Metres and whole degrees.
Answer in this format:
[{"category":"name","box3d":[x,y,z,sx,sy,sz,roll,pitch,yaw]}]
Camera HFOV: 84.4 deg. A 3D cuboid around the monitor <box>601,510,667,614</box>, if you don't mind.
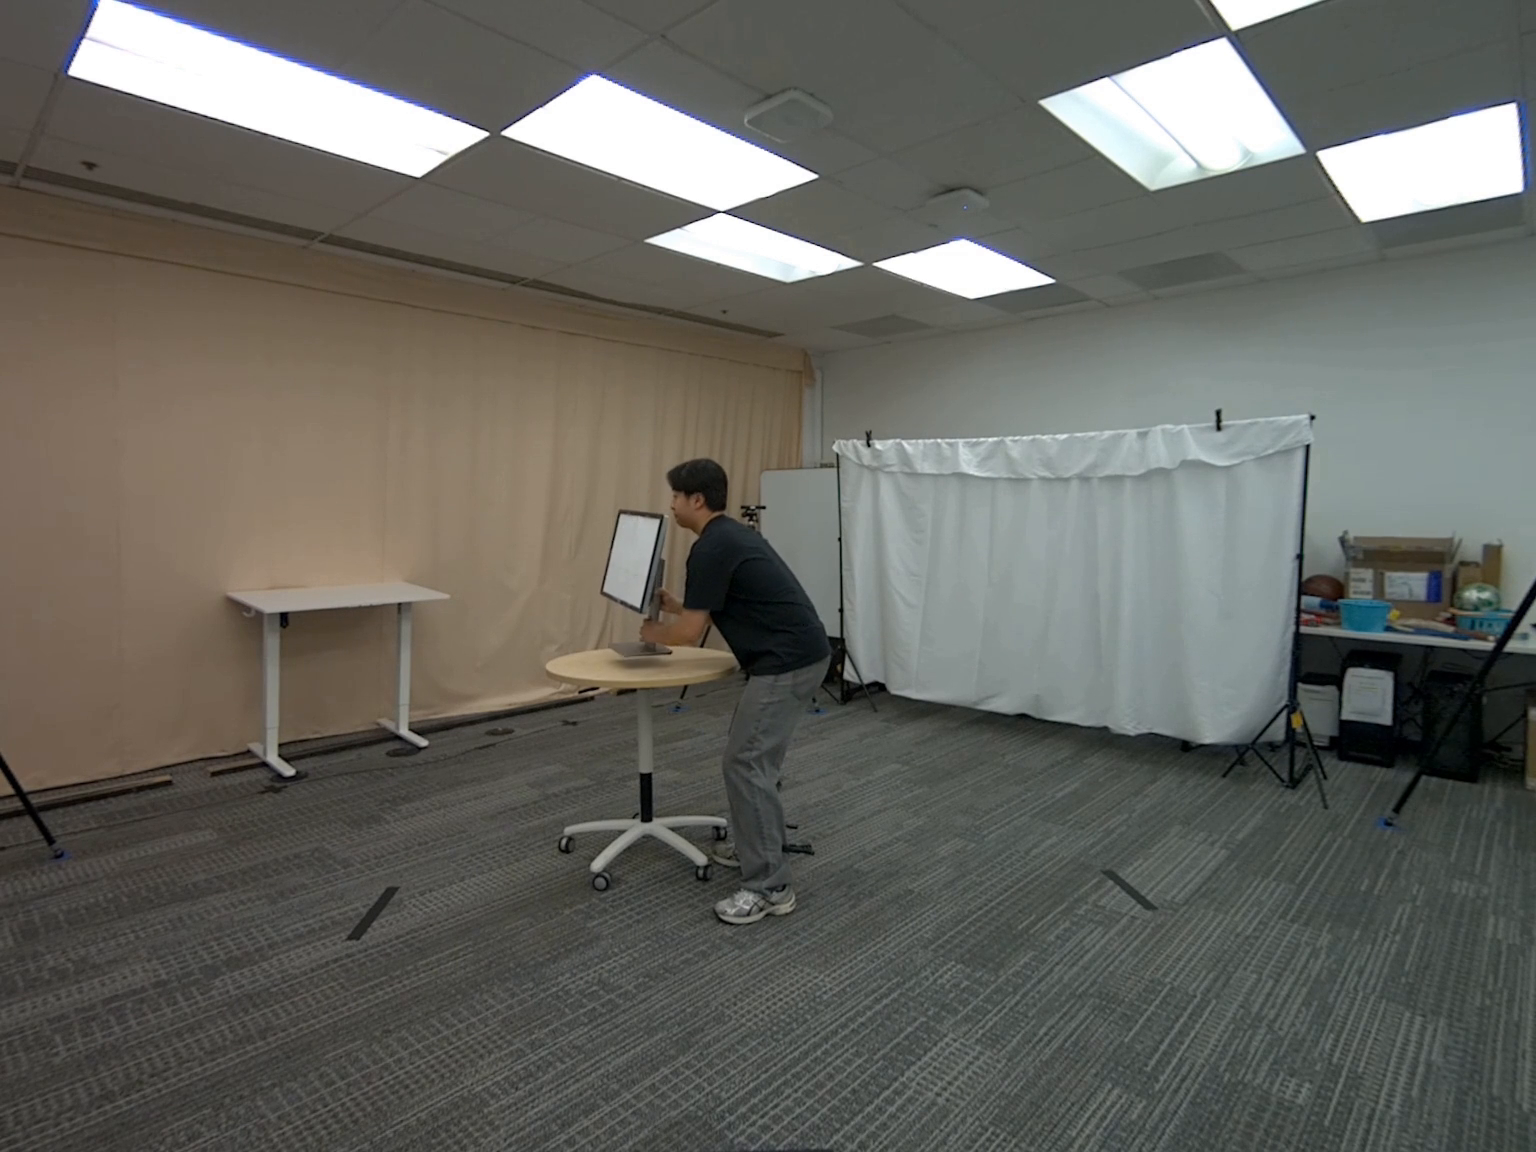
[{"category":"monitor","box3d":[-0.498,0.030,3.265,0.218,0.564,0.575,-4,6,-22]}]
